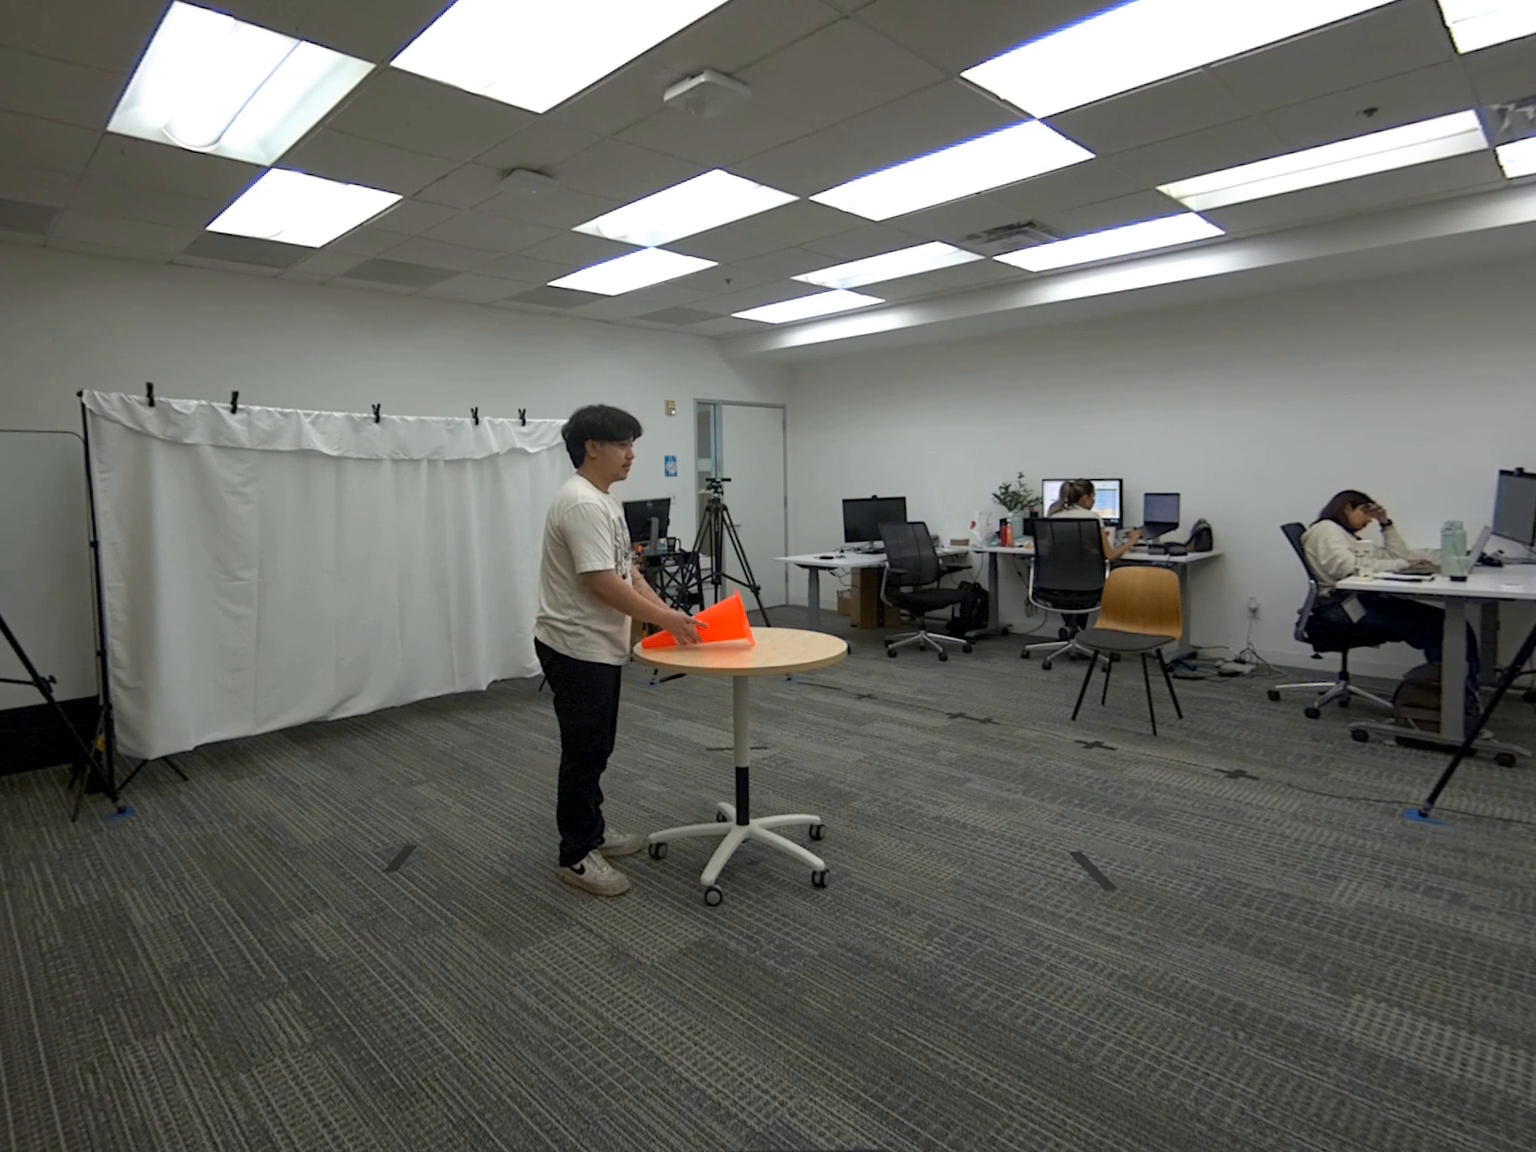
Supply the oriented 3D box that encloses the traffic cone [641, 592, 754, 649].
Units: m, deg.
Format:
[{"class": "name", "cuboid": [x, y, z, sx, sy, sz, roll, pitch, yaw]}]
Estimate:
[{"class": "traffic cone", "cuboid": [-0.270, 0.197, 3.042, 0.384, 0.200, 0.207, -16, 13, 2]}]
